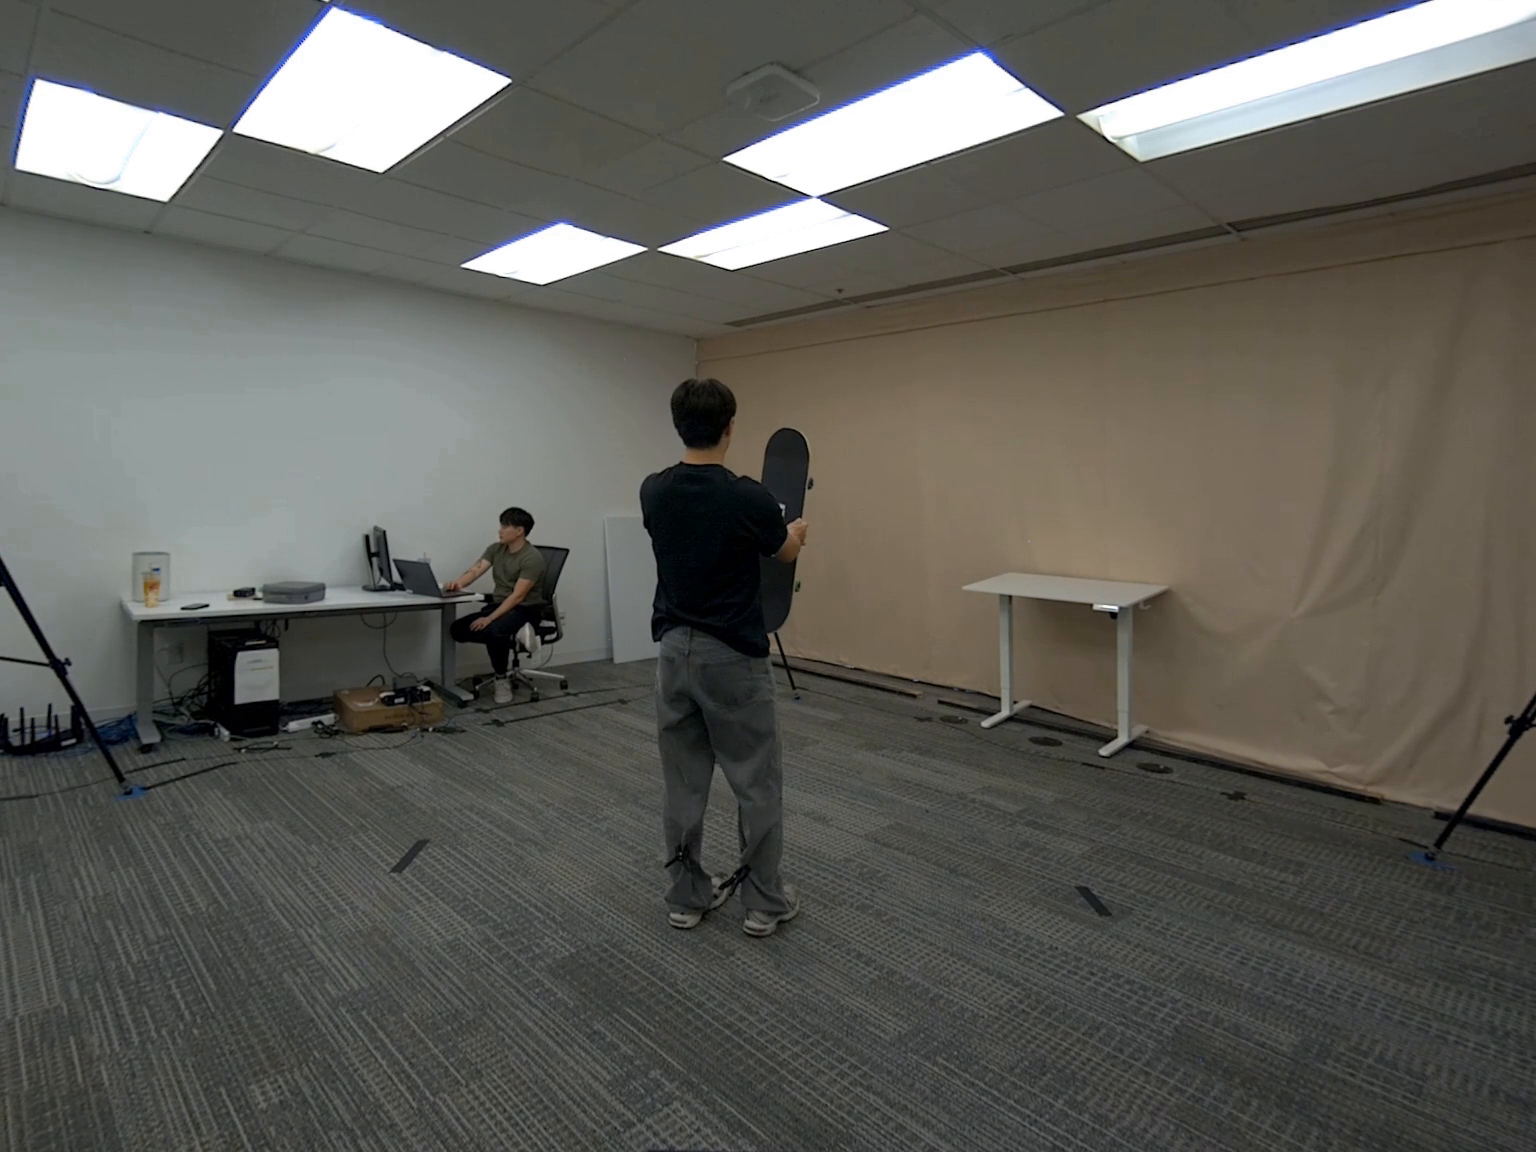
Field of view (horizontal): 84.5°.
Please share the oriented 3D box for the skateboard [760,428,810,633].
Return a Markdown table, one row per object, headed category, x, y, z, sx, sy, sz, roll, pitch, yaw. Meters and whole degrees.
| category | x | y | z | sx | sy | sz | roll | pitch | yaw |
| --- | --- | --- | --- | --- | --- | --- | --- | --- | --- |
| skateboard | 0.047 | -0.167 | 3.218 | 0.197 | 0.788 | 0.108 | 5 | -6 | 25 |
